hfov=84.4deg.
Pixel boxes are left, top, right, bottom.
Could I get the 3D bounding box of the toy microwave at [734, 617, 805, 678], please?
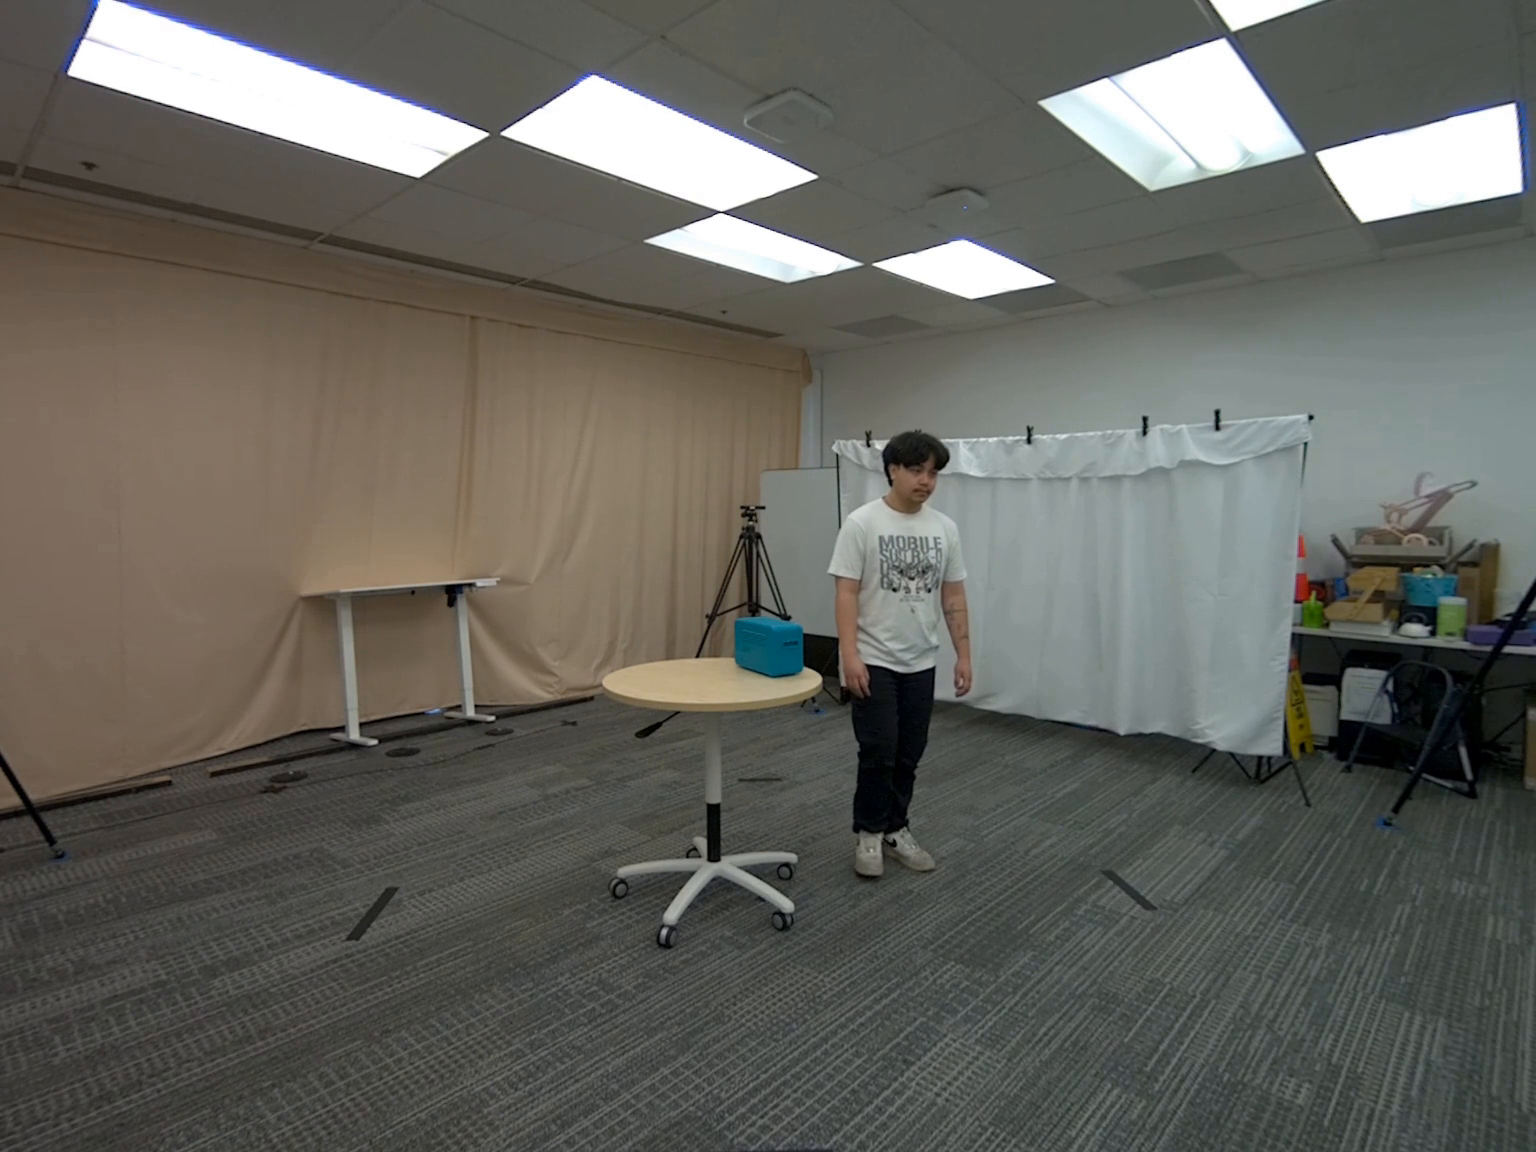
[{"bbox_3d":[0.012,0.251,3.061,0.148,0.184,0.294,-2,5,-30],"label":"toy microwave"}]
